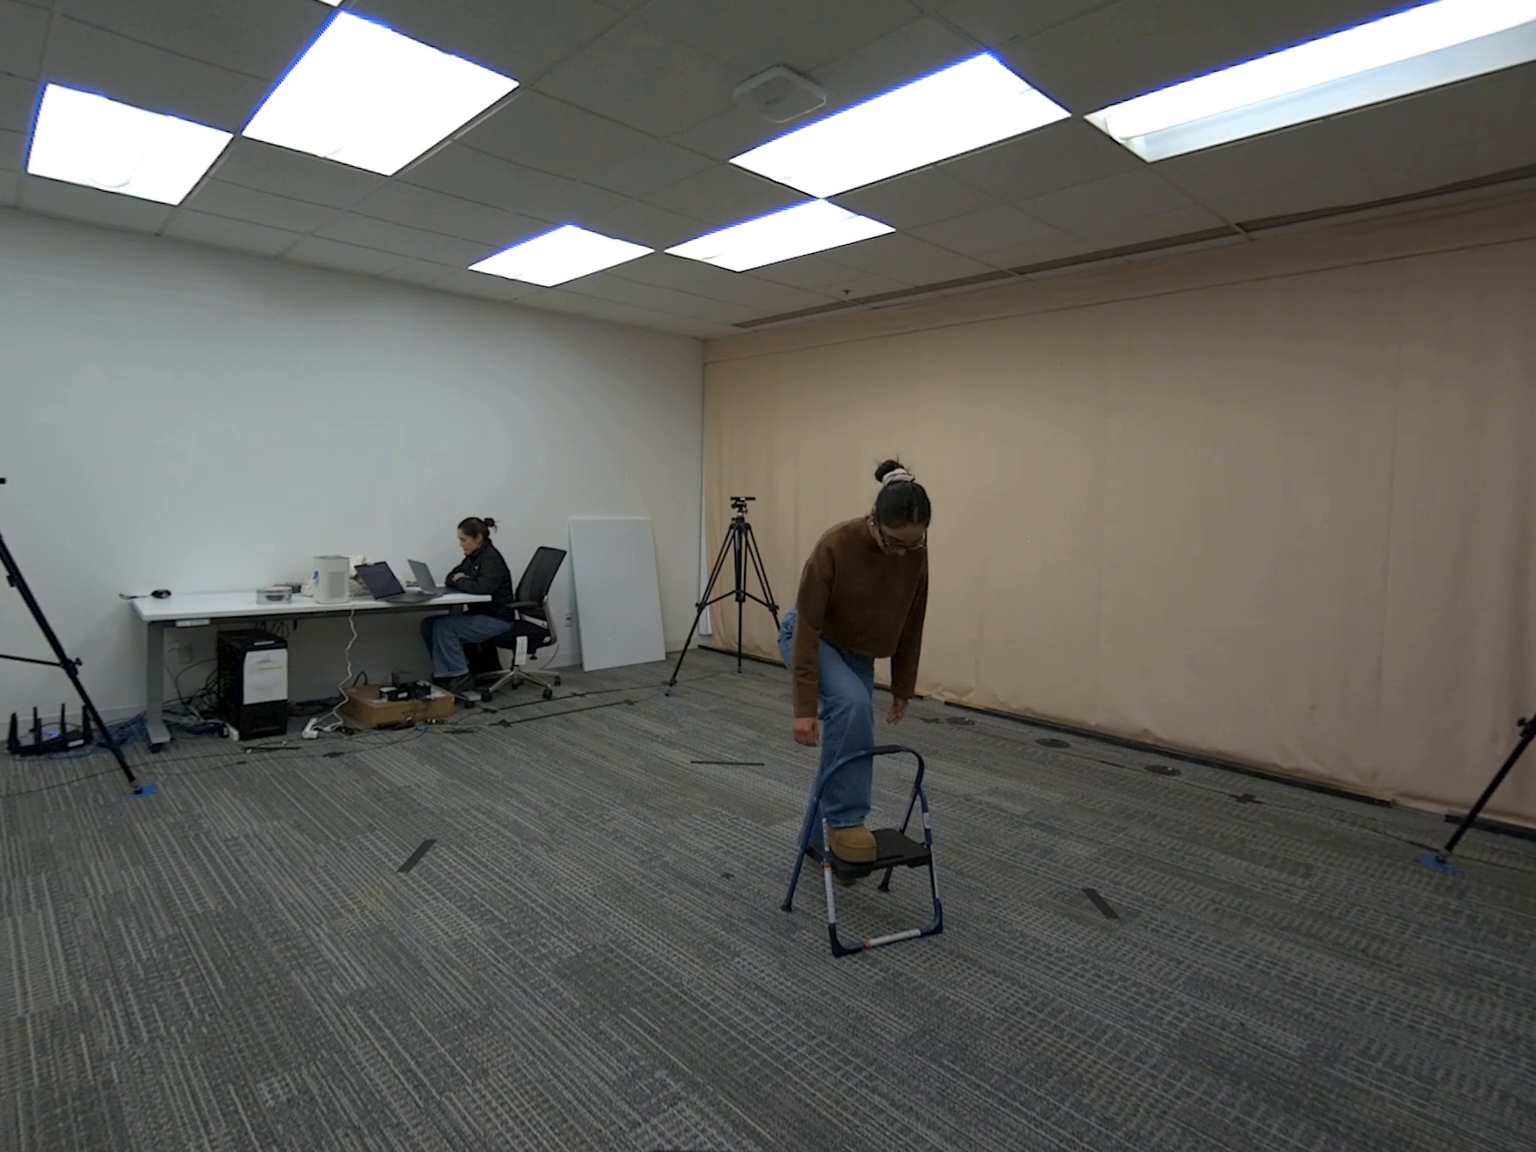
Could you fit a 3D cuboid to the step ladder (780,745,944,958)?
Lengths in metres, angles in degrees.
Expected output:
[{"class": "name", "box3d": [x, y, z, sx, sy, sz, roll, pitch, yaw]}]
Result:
[{"class": "step ladder", "box3d": [0.314, 0.845, 2.783, 0.422, 0.604, 0.357, 0, 4, -27]}]
